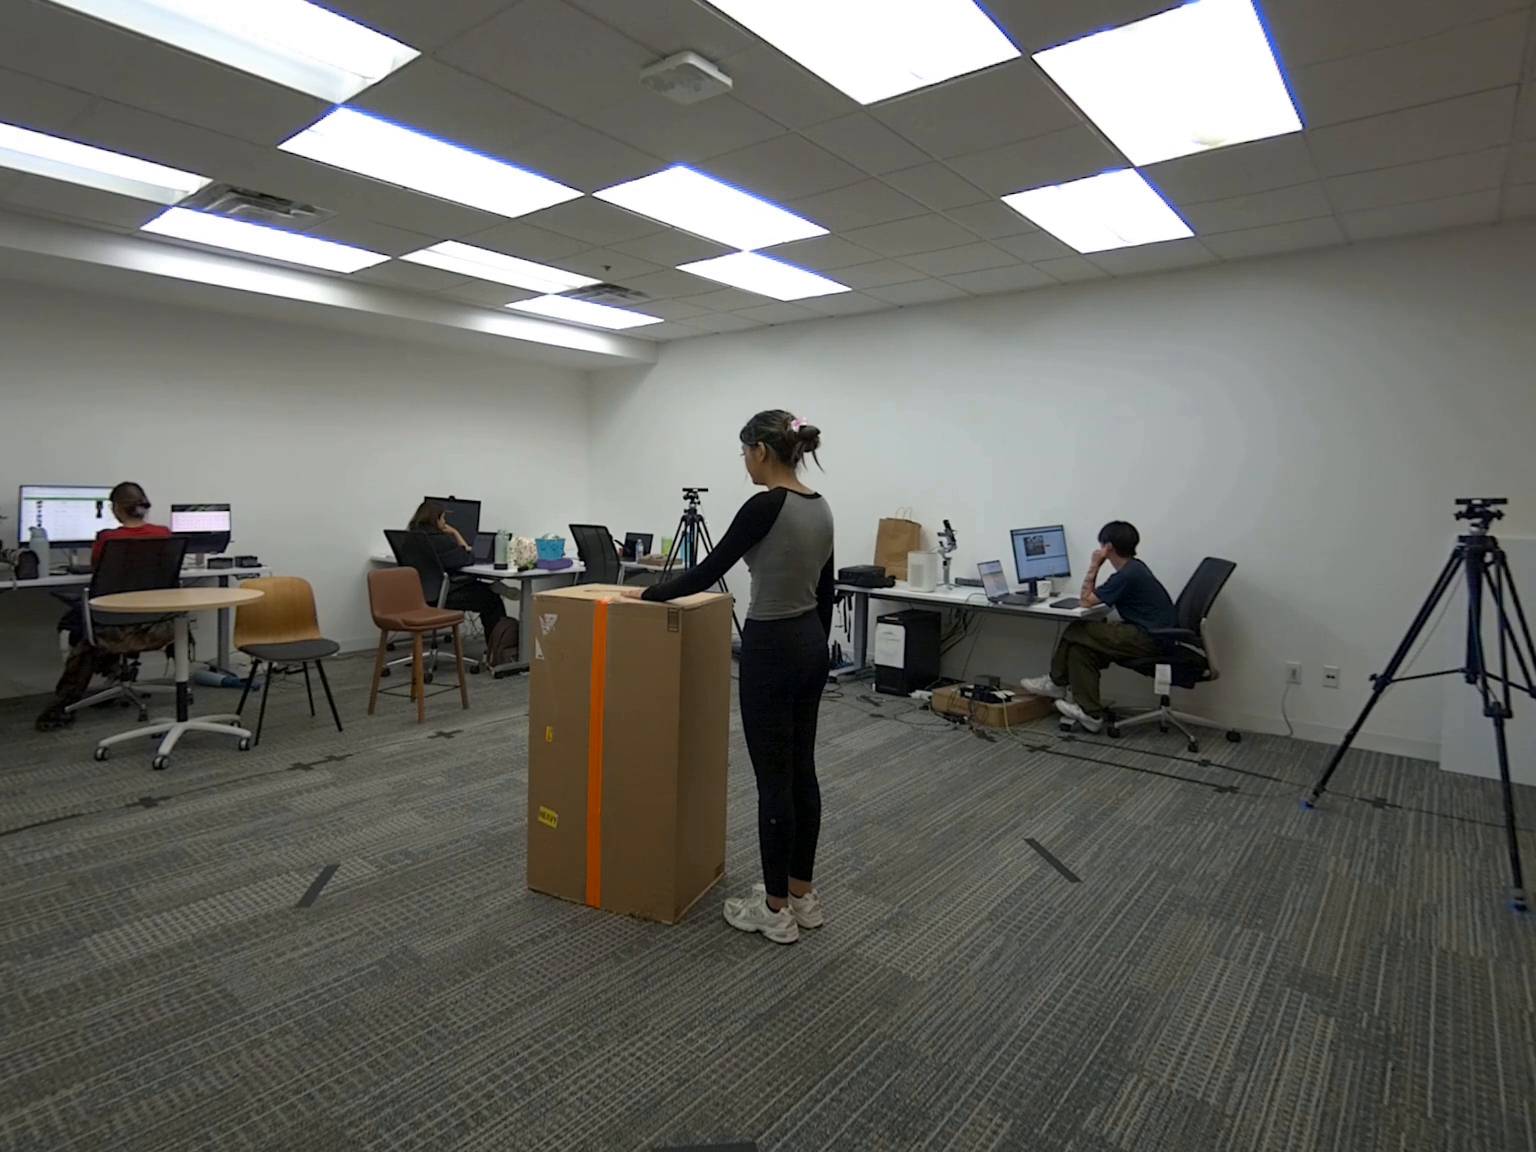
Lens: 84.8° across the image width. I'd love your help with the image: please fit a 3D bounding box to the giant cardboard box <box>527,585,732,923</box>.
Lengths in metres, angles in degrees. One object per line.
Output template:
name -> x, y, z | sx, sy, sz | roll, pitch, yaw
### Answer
giant cardboard box -> -0.494, 0.572, 2.978 | 0.598, 1.025, 0.437 | 3, 2, 22
